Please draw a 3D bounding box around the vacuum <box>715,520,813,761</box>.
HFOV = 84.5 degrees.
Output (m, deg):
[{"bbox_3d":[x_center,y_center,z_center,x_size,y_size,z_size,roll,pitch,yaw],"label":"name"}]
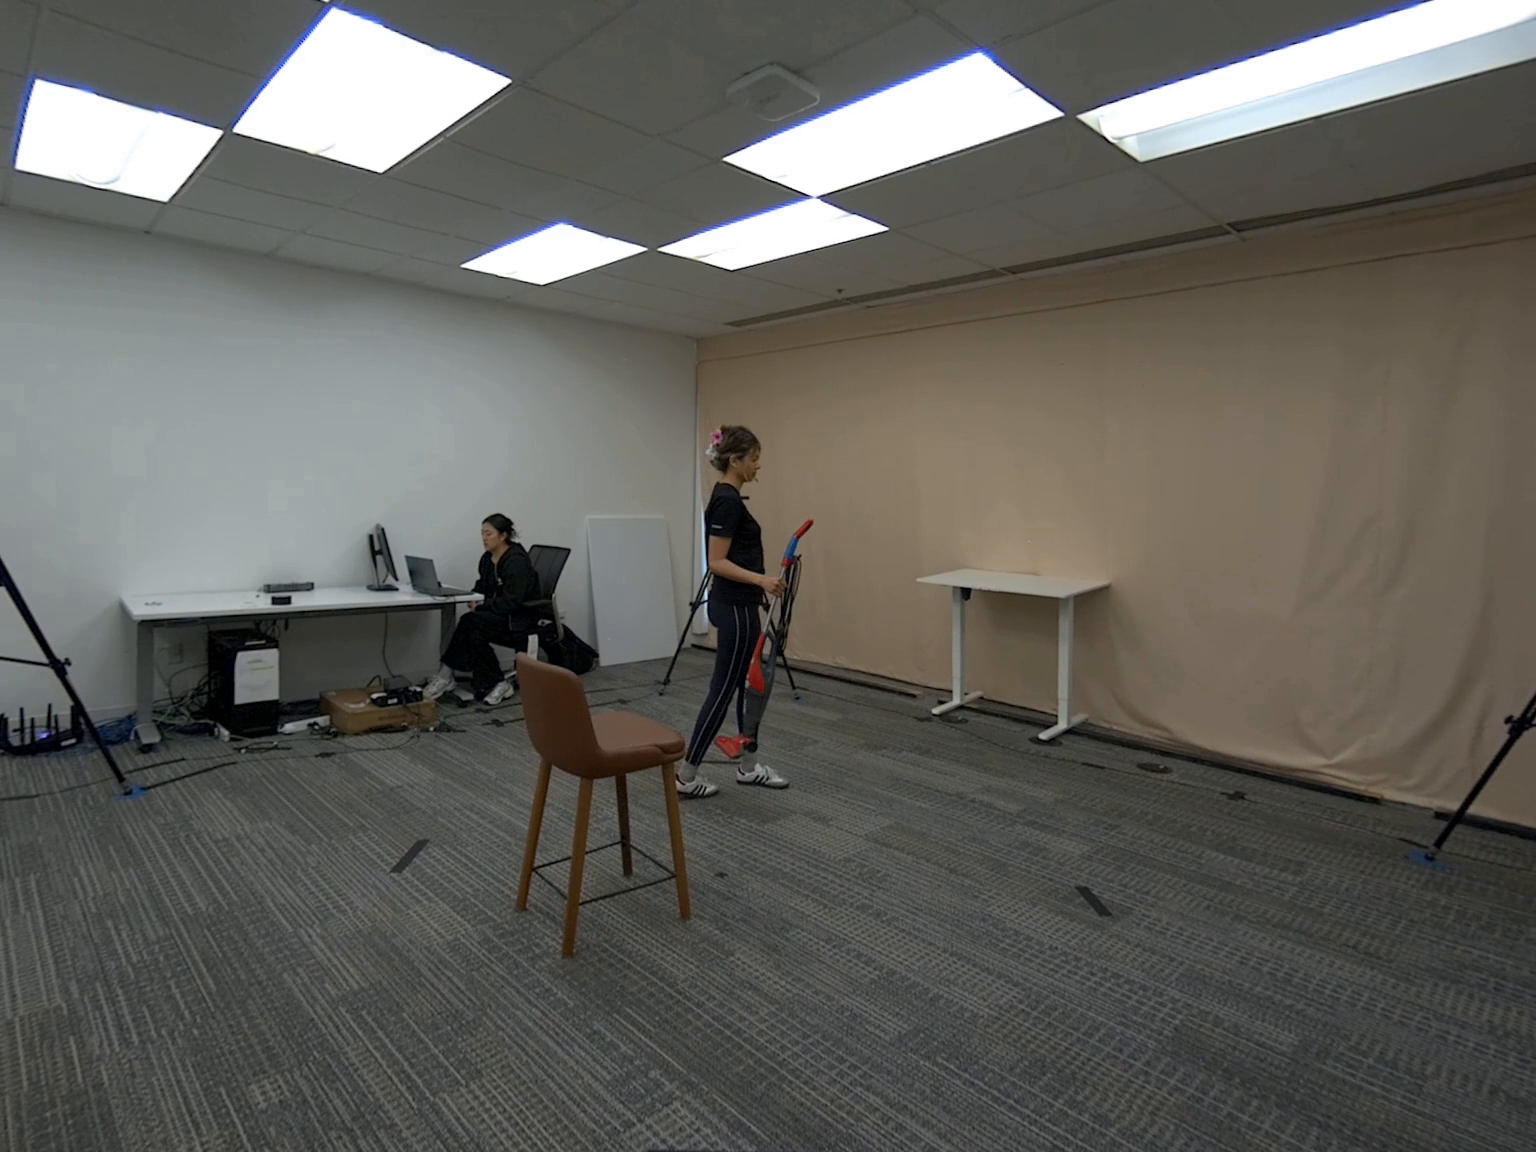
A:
[{"bbox_3d":[0.025,0.251,3.689,0.140,1.051,0.259,19,-4,-35],"label":"vacuum"}]
